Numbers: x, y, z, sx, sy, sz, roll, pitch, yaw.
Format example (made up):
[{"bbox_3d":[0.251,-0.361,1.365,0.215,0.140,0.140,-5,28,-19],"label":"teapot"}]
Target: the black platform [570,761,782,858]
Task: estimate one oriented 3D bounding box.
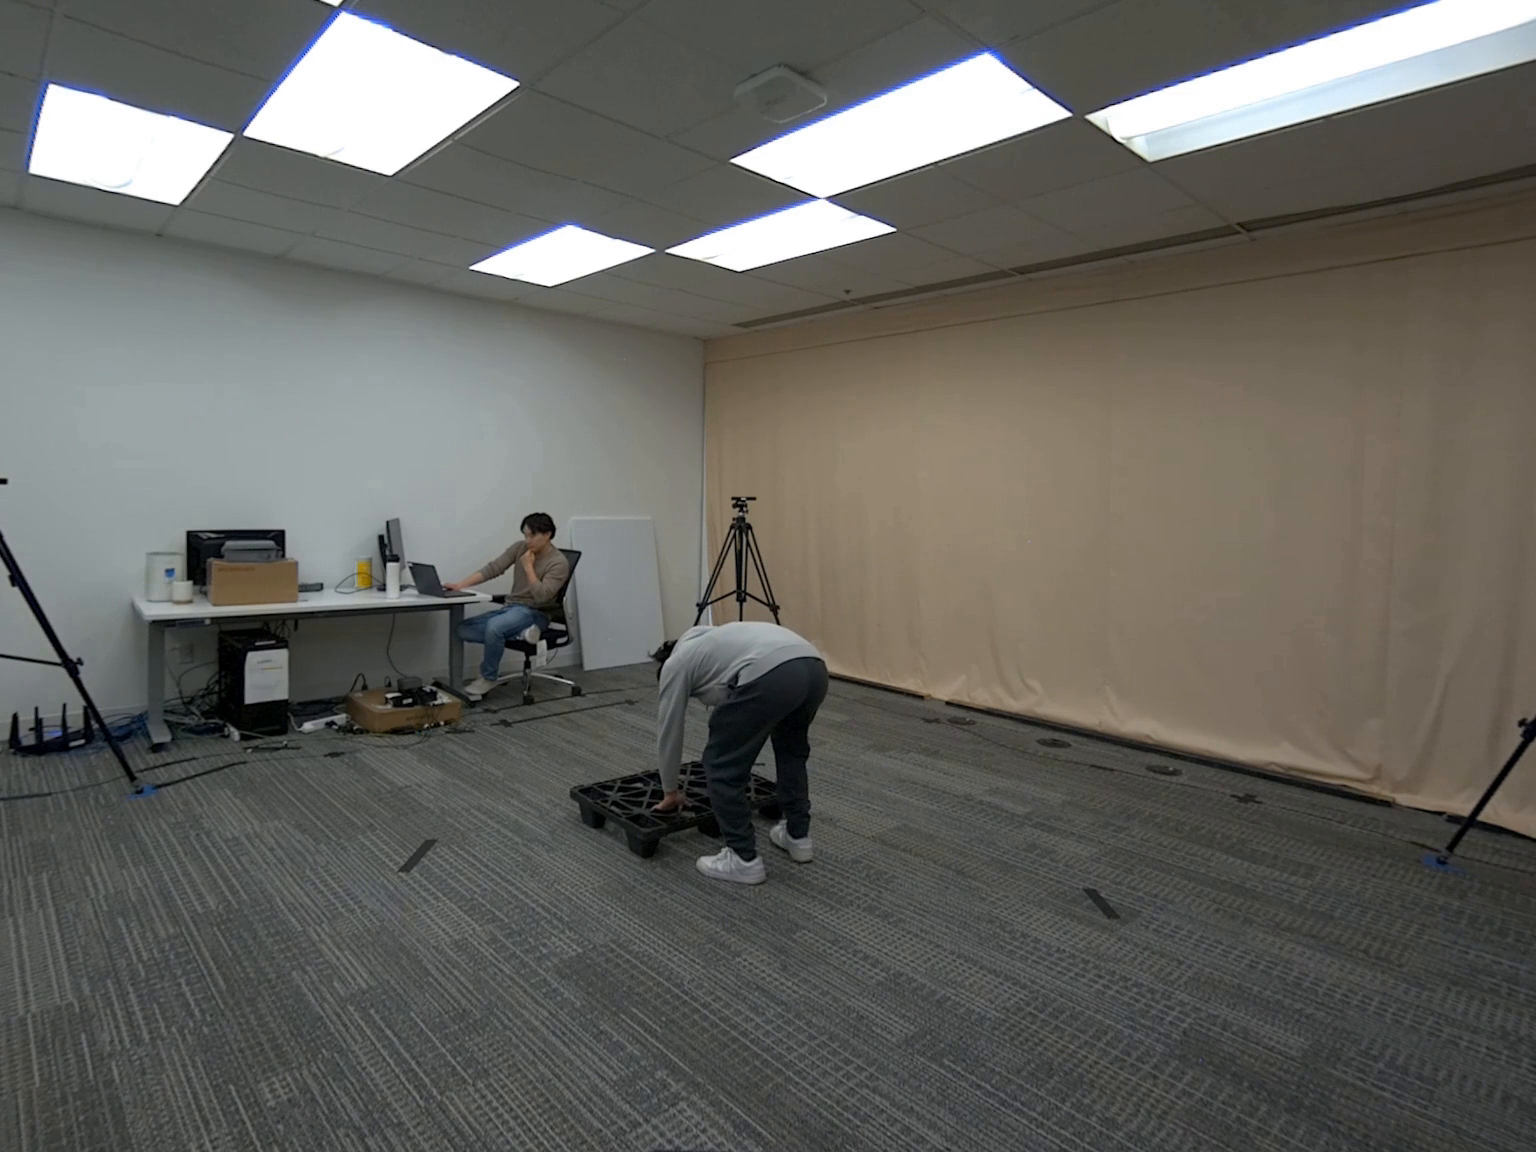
[{"bbox_3d":[-0.365,0.987,3.640,0.787,0.143,0.621,-3,7,-41],"label":"black platform"}]
